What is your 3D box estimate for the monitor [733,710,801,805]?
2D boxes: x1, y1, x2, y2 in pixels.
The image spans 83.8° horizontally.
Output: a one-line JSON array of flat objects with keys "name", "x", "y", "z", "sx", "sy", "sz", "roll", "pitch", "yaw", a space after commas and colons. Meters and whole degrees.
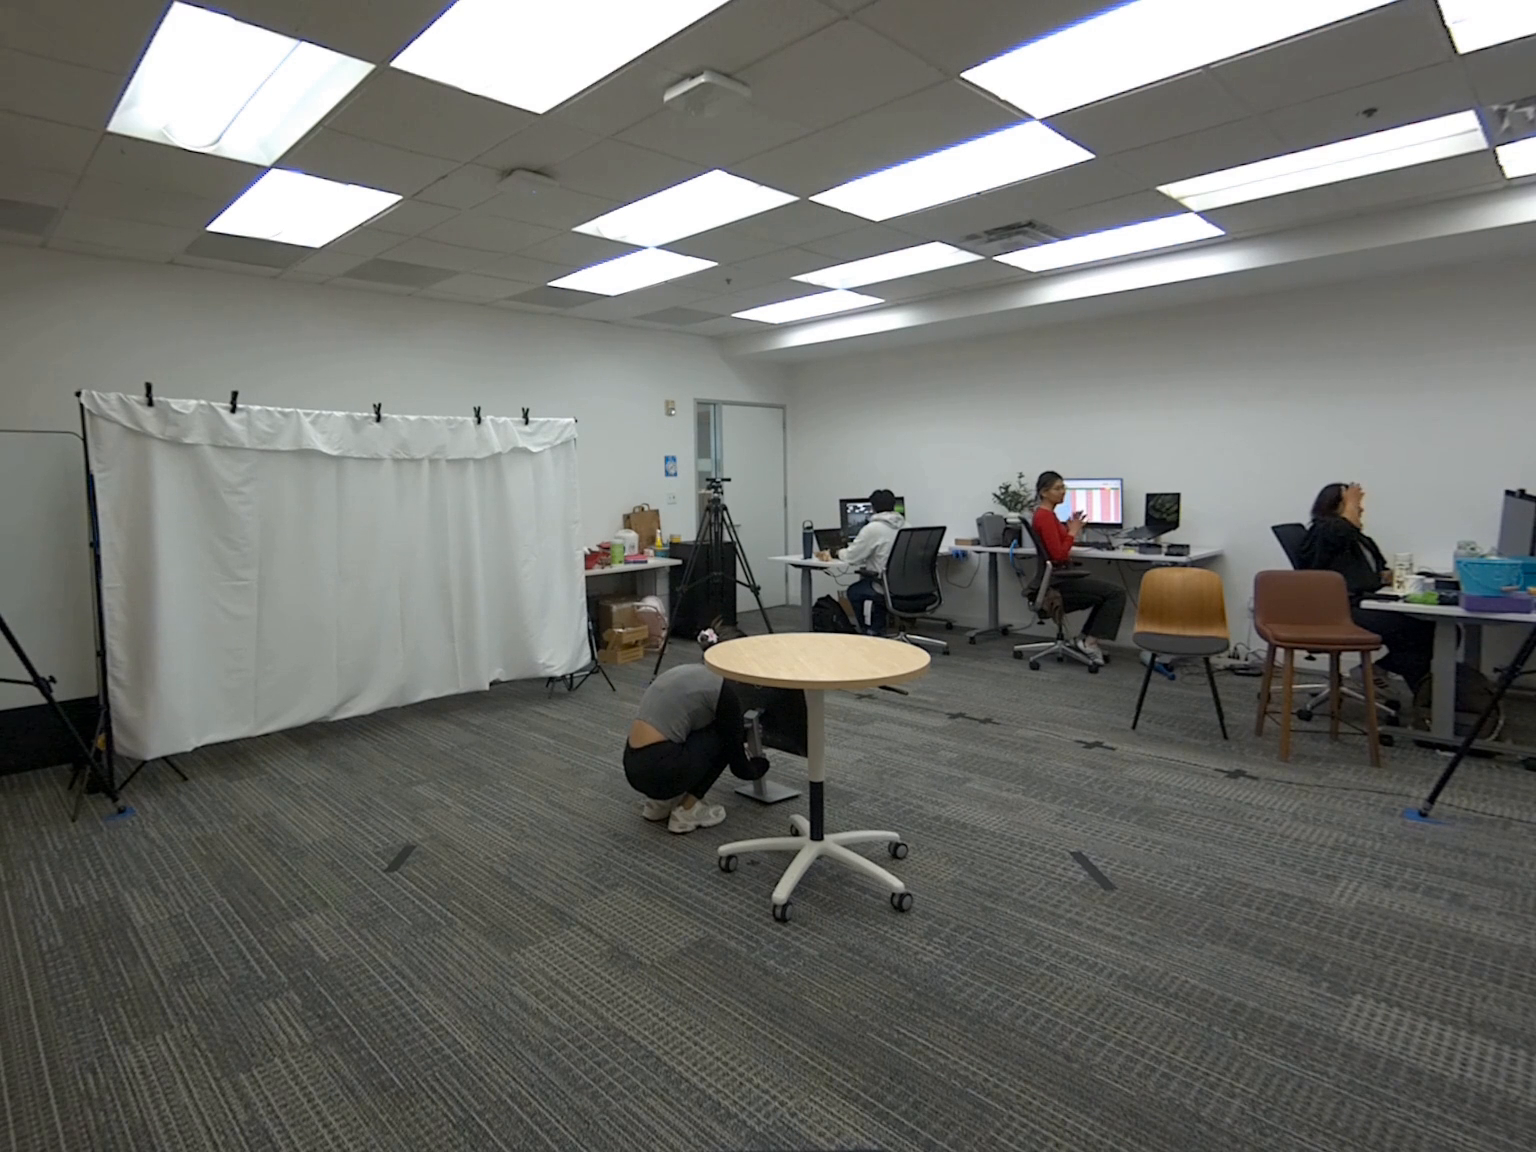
[{"name": "monitor", "x": -0.014, "y": 0.696, "z": 3.792, "sx": 0.182, "sy": 0.522, "sz": 0.555, "roll": -2, "pitch": 2, "yaw": -40}]
